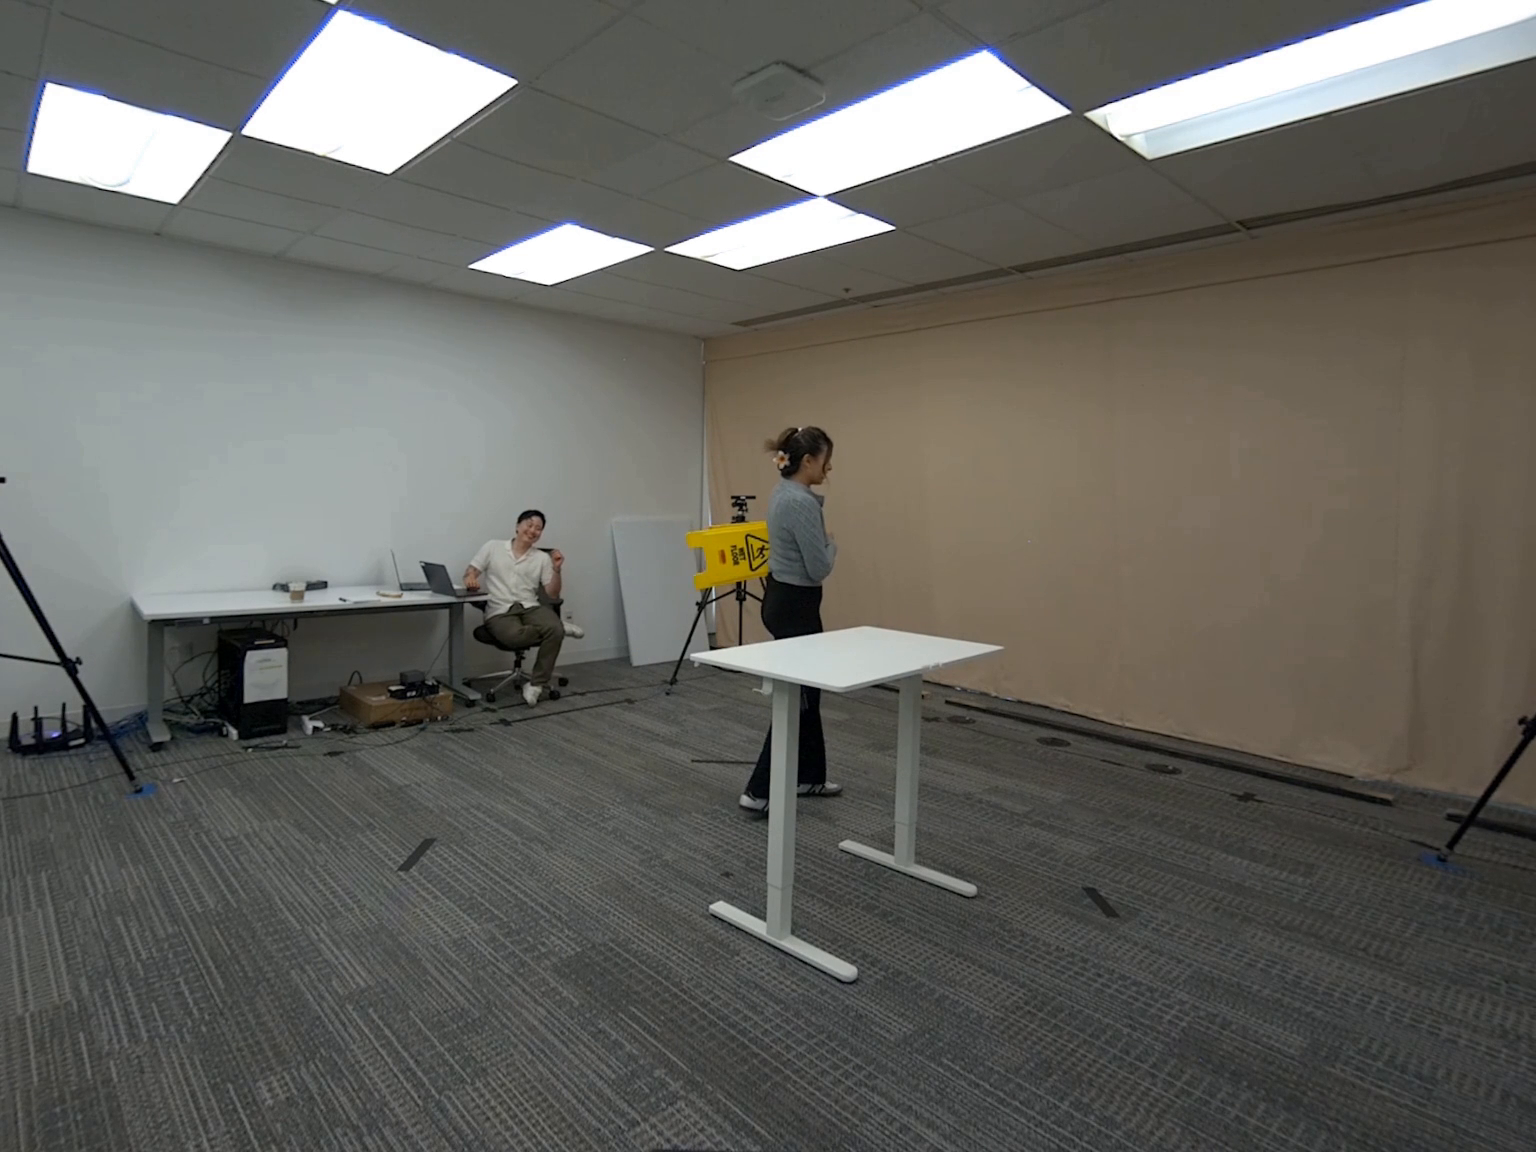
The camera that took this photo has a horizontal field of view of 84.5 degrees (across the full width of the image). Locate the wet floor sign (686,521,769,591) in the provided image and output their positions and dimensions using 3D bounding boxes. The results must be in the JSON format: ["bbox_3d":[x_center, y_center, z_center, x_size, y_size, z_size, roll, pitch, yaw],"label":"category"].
[{"bbox_3d":[-0.033,-0.126,4.017,0.655,0.281,0.286,-8,4,22],"label":"wet floor sign"}]
